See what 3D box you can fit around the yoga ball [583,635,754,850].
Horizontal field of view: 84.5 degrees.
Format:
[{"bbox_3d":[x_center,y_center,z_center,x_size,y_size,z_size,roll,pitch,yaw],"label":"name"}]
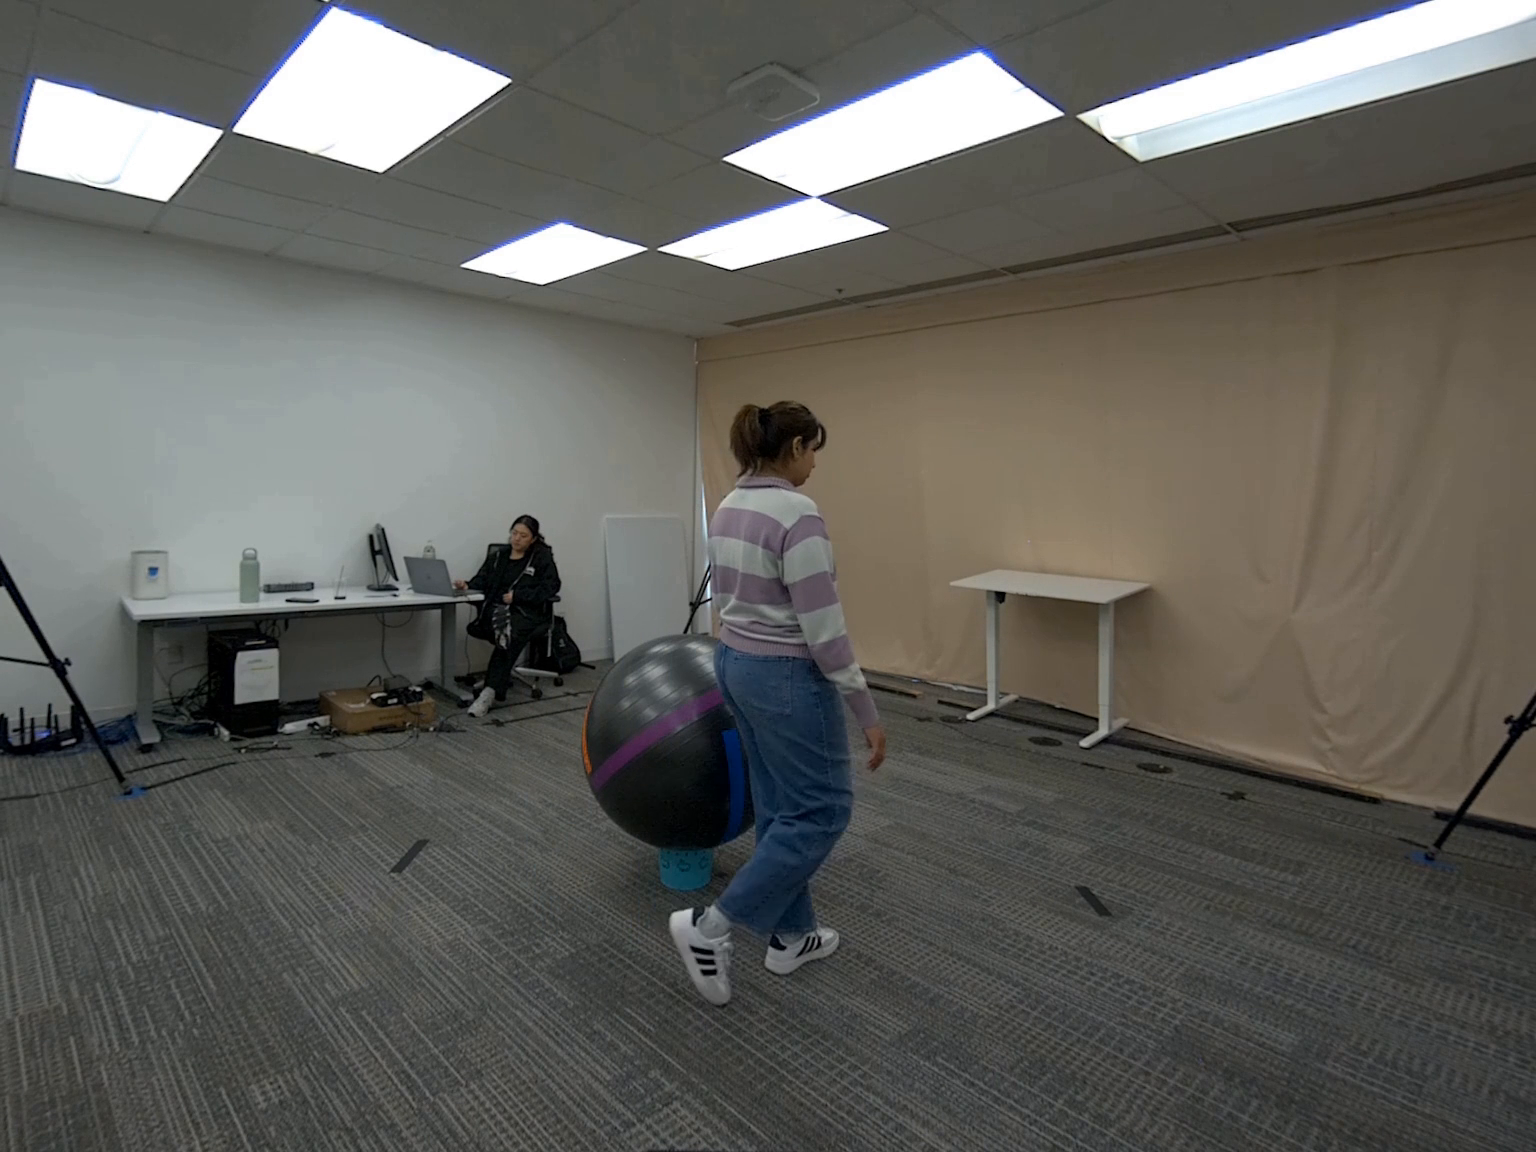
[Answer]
[{"bbox_3d":[-0.292,0.593,3.046,0.757,0.756,0.761,1,4,-1],"label":"yoga ball"}]
